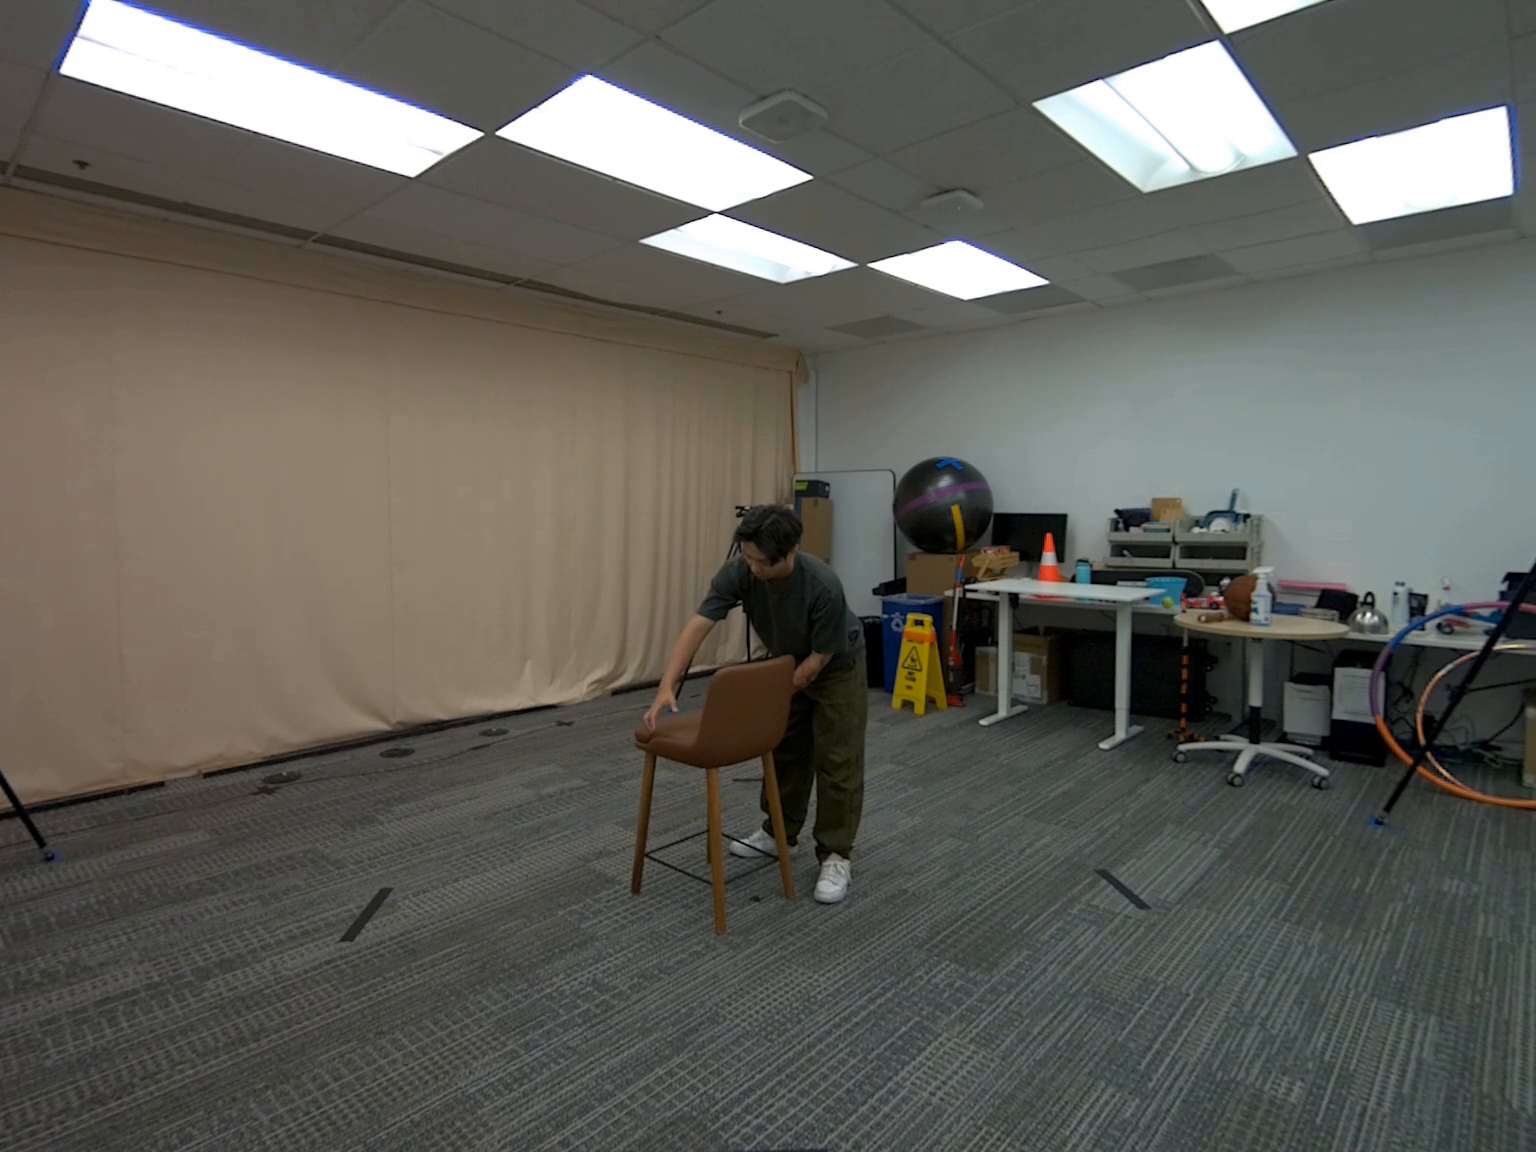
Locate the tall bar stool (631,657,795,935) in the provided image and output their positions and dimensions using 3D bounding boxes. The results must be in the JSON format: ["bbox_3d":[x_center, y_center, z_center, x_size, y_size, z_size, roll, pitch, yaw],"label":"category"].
[{"bbox_3d":[-0.195,0.709,2.987,0.483,0.887,0.442,4,6,43],"label":"tall bar stool"}]
